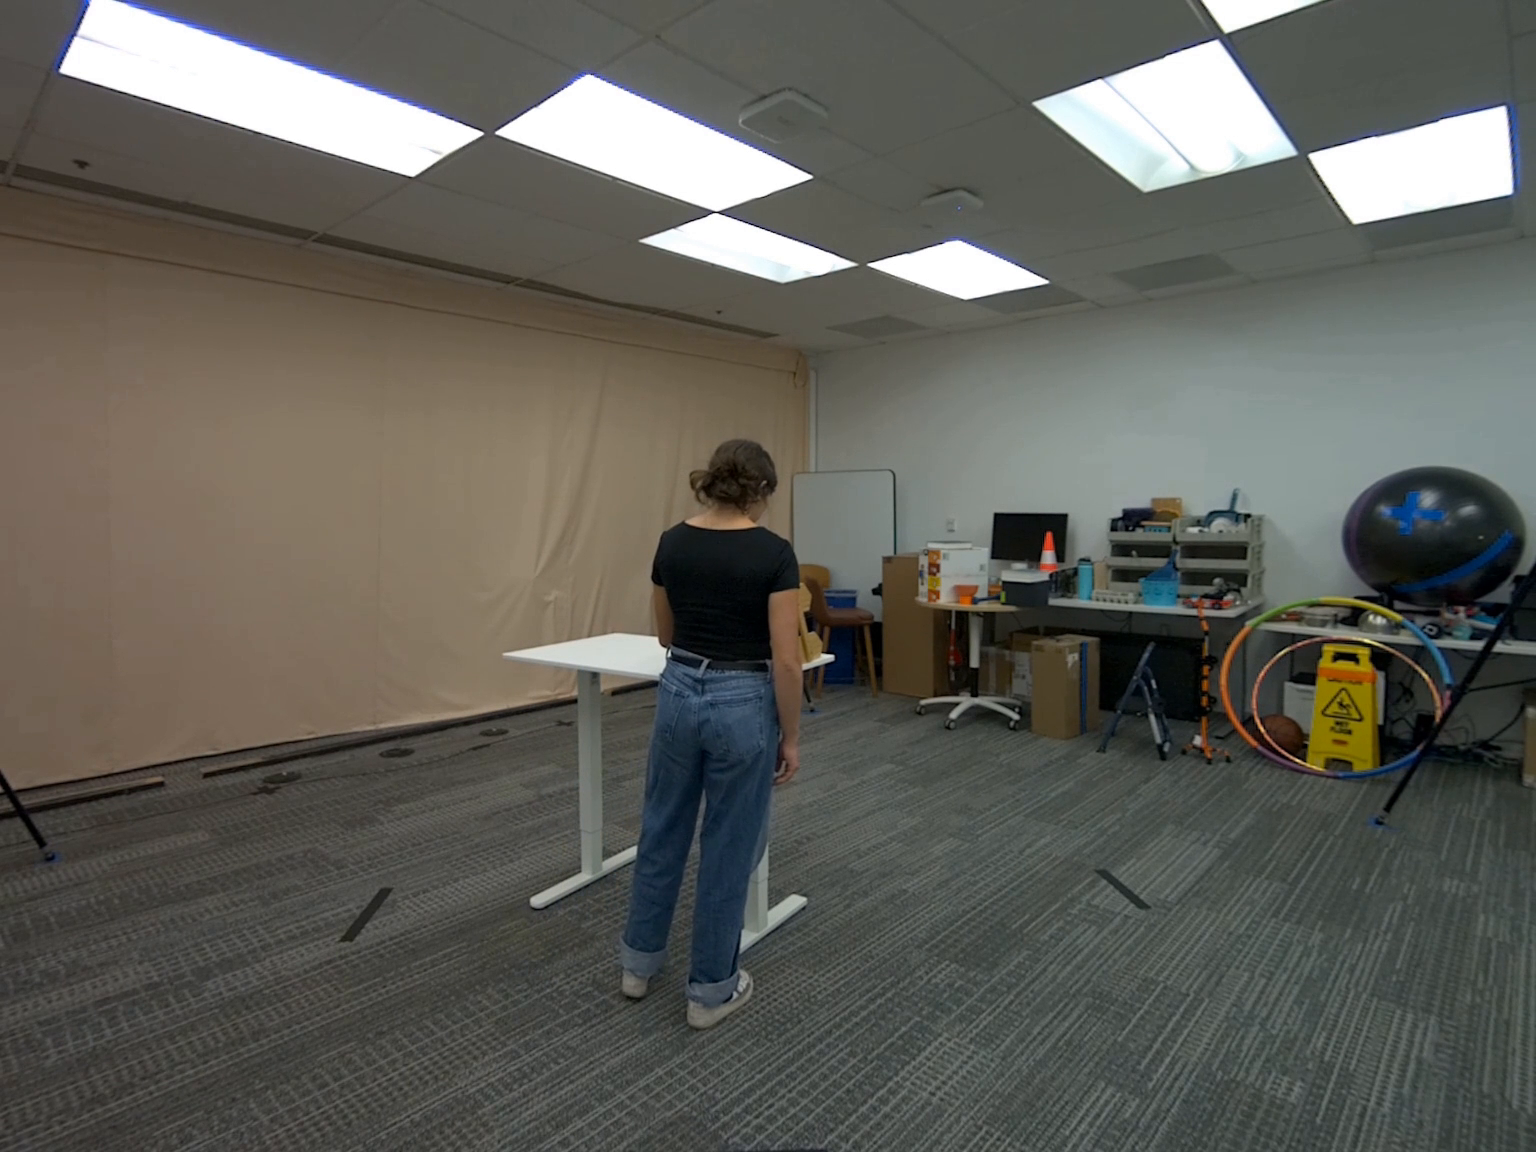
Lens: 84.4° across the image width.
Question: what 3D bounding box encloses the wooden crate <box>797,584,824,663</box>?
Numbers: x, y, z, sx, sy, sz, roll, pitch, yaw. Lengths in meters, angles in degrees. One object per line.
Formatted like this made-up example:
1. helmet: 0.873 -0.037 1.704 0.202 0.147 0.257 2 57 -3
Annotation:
1. wooden crate: -0.018 0.144 2.760 0.333 0.272 0.294 1 5 28
